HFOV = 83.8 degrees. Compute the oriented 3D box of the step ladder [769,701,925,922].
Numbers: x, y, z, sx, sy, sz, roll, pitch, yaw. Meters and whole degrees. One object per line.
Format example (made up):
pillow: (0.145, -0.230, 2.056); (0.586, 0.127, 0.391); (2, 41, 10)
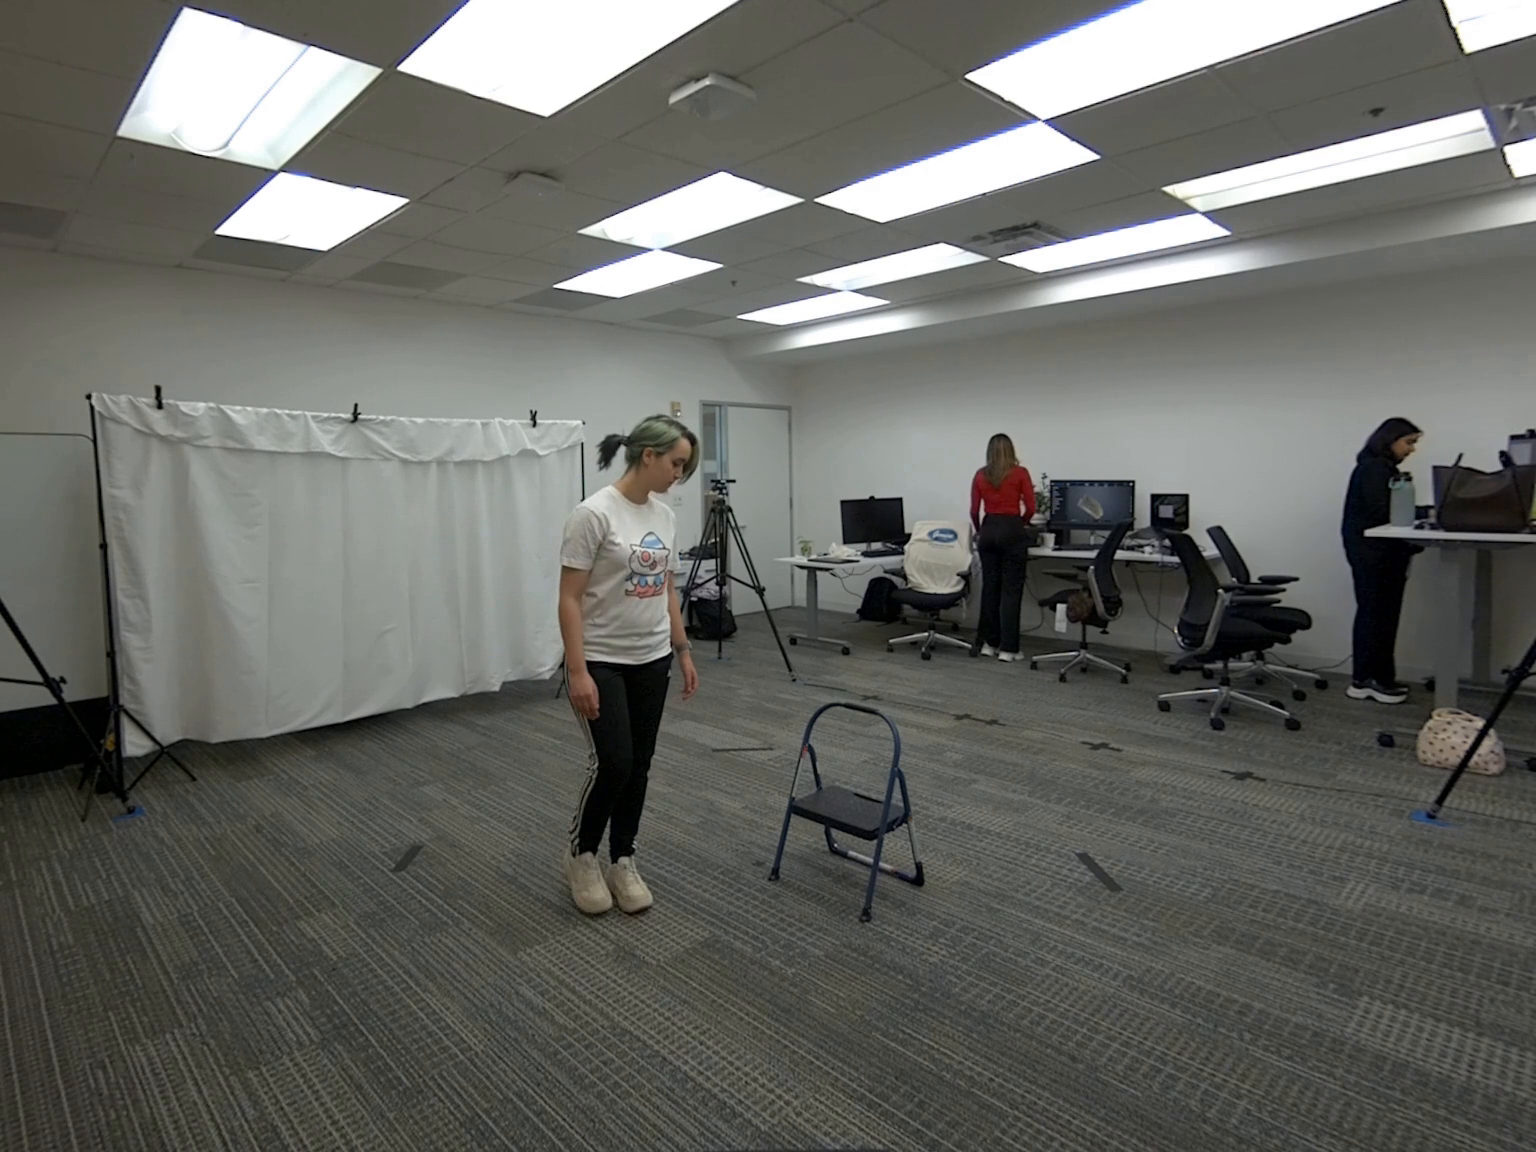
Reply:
step ladder: (0.267, 0.758, 2.937); (0.444, 0.603, 0.340); (4, 7, 44)
